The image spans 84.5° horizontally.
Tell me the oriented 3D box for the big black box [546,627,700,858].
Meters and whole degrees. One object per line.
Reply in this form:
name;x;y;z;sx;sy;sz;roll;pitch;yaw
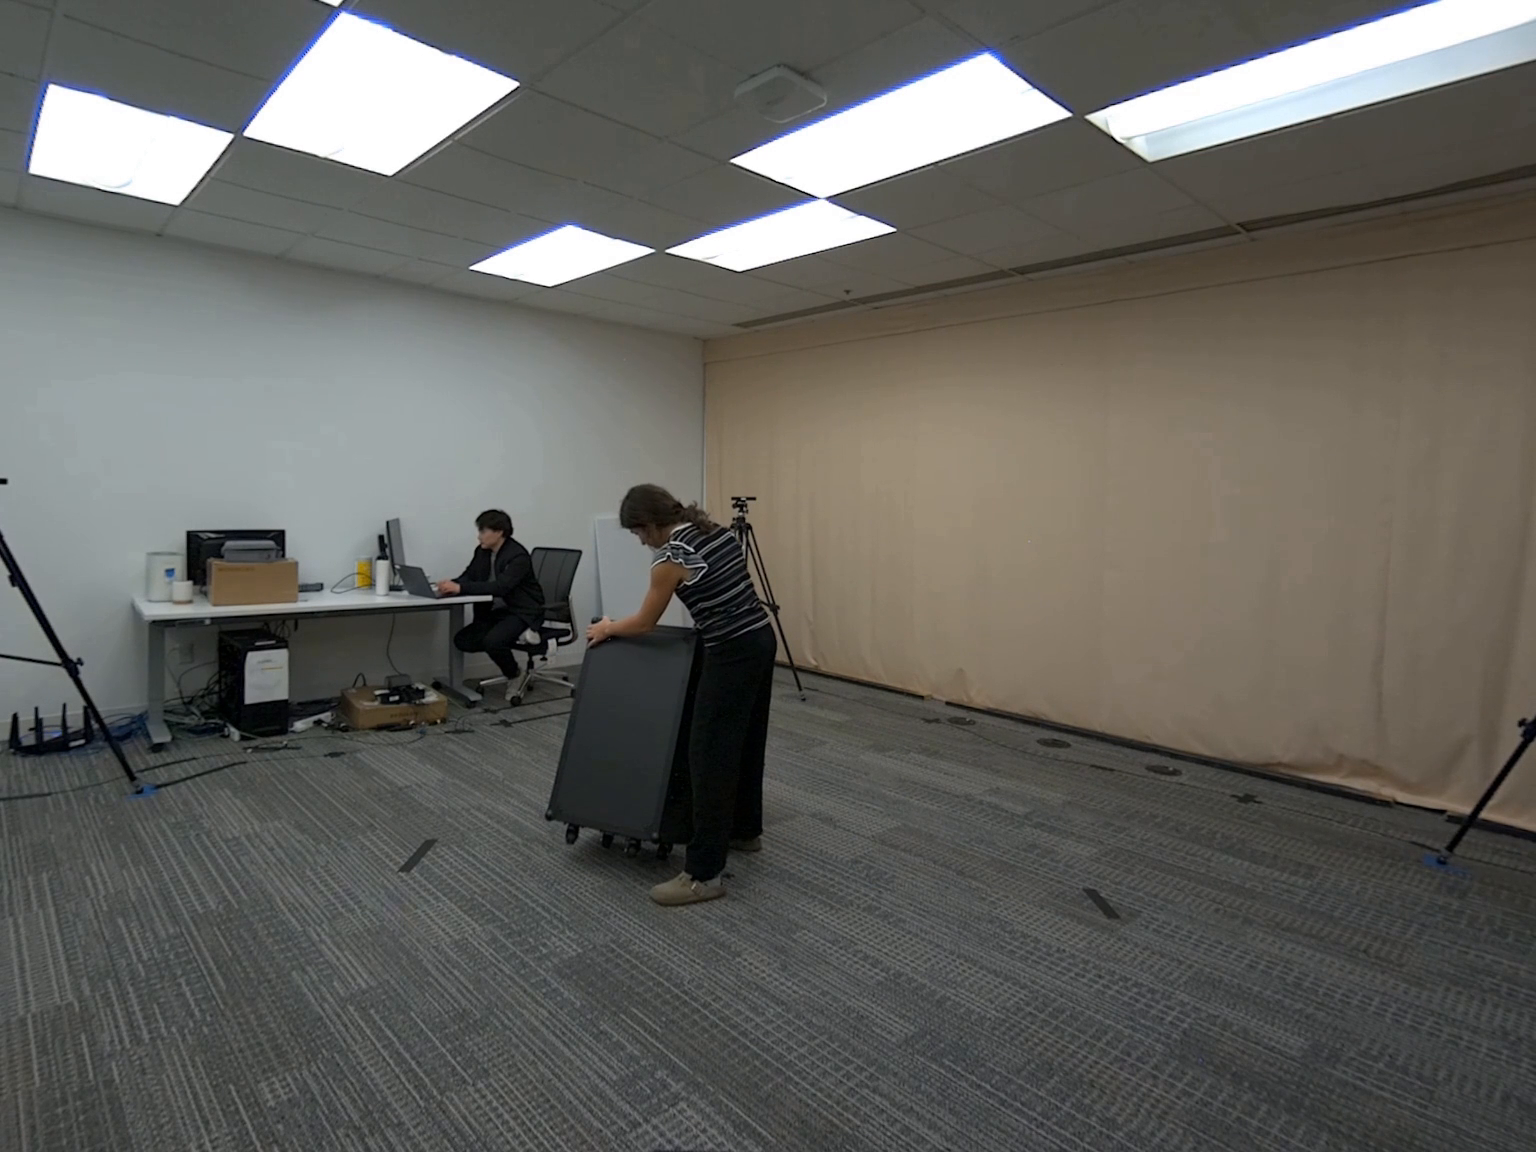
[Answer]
big black box;-0.502;0.645;3.327;0.531;0.870;0.385;3;-19;23
